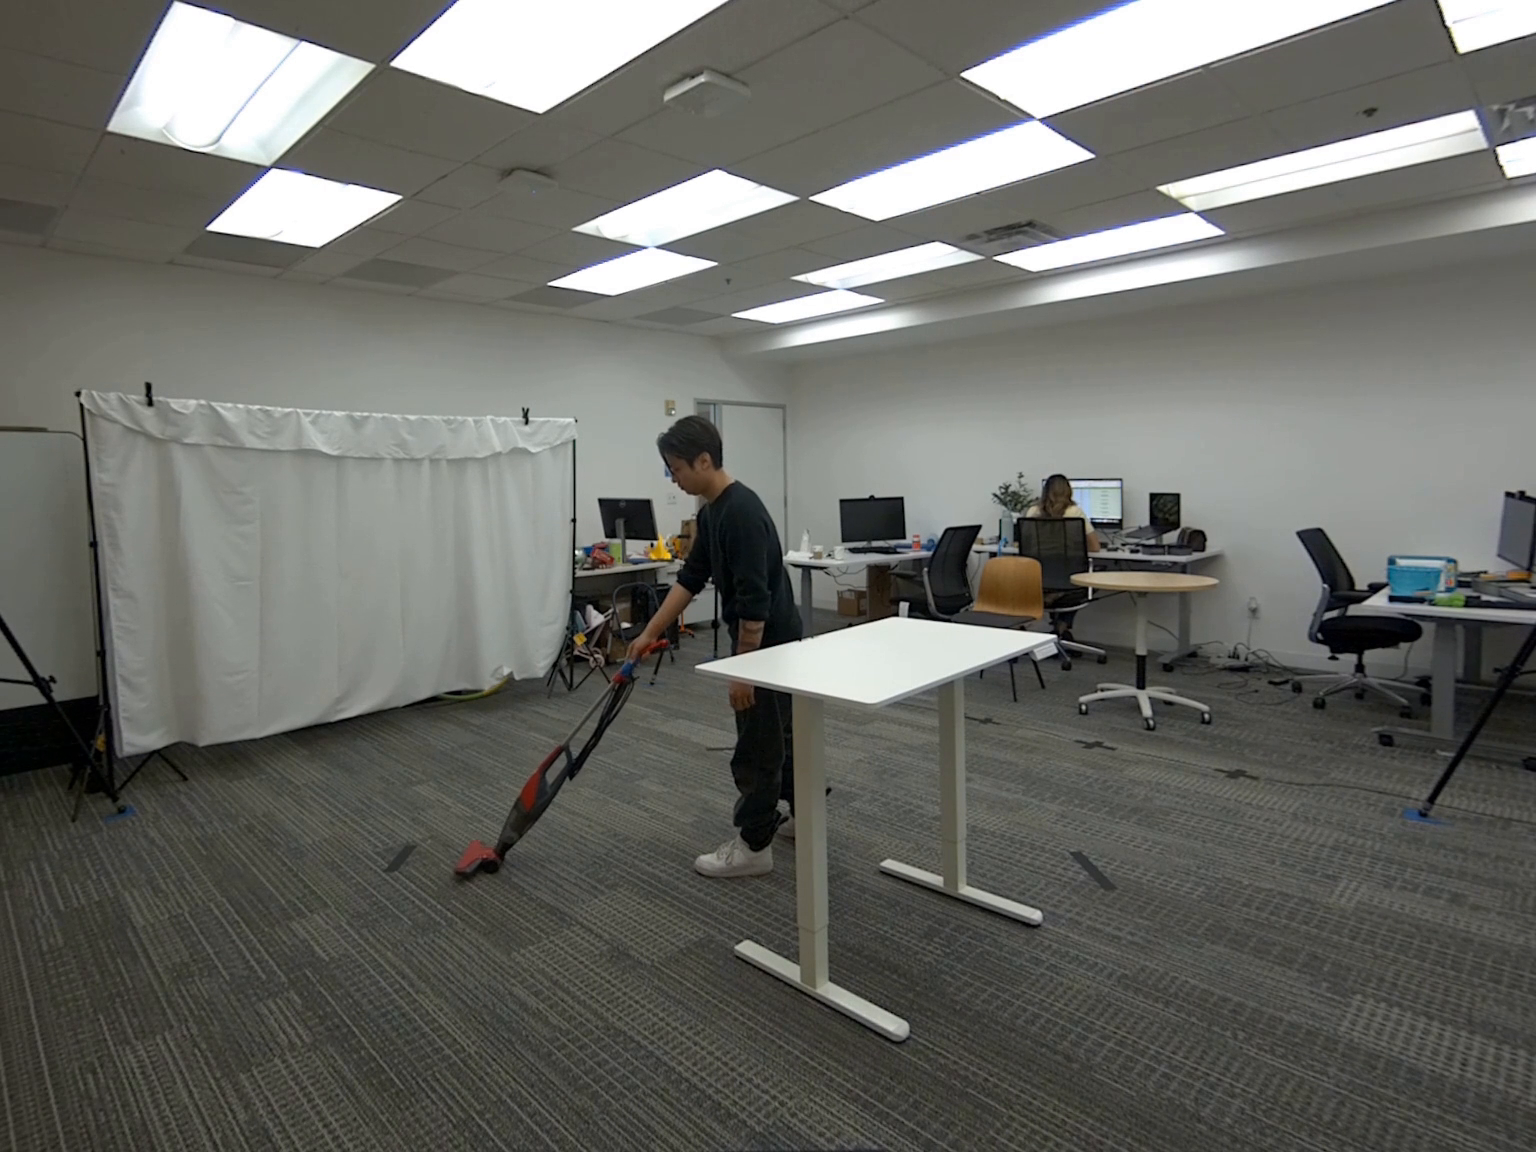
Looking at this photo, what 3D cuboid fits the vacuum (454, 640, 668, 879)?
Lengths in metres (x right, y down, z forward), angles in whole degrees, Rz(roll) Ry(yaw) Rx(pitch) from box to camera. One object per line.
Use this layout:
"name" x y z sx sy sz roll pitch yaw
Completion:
"vacuum" -0.707 0.647 3.109 0.141 1.049 0.257 40 1 -14
